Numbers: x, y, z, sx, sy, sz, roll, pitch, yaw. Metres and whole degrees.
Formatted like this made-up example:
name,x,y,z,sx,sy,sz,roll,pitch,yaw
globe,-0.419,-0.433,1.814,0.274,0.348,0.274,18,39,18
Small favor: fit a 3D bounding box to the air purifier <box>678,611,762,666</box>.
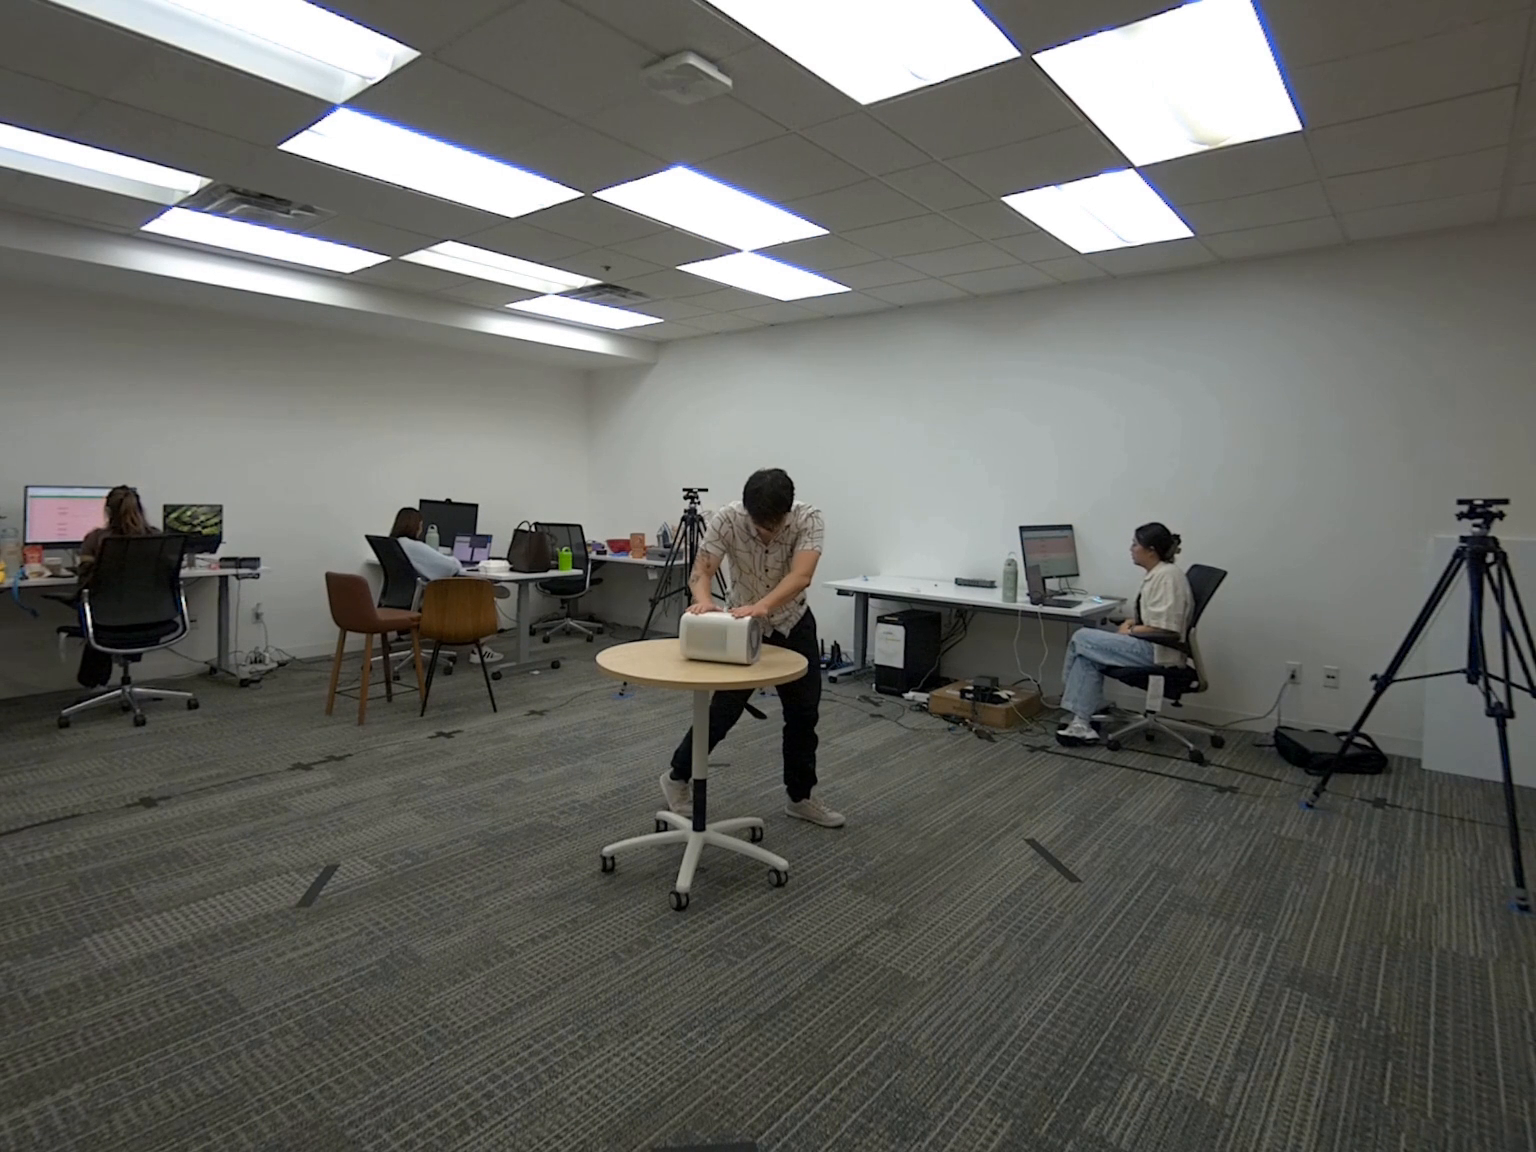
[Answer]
name,x,y,z,sx,sy,sz,roll,pitch,yaw
air purifier,-0.182,0.211,3.048,0.271,0.172,0.167,3,0,19
